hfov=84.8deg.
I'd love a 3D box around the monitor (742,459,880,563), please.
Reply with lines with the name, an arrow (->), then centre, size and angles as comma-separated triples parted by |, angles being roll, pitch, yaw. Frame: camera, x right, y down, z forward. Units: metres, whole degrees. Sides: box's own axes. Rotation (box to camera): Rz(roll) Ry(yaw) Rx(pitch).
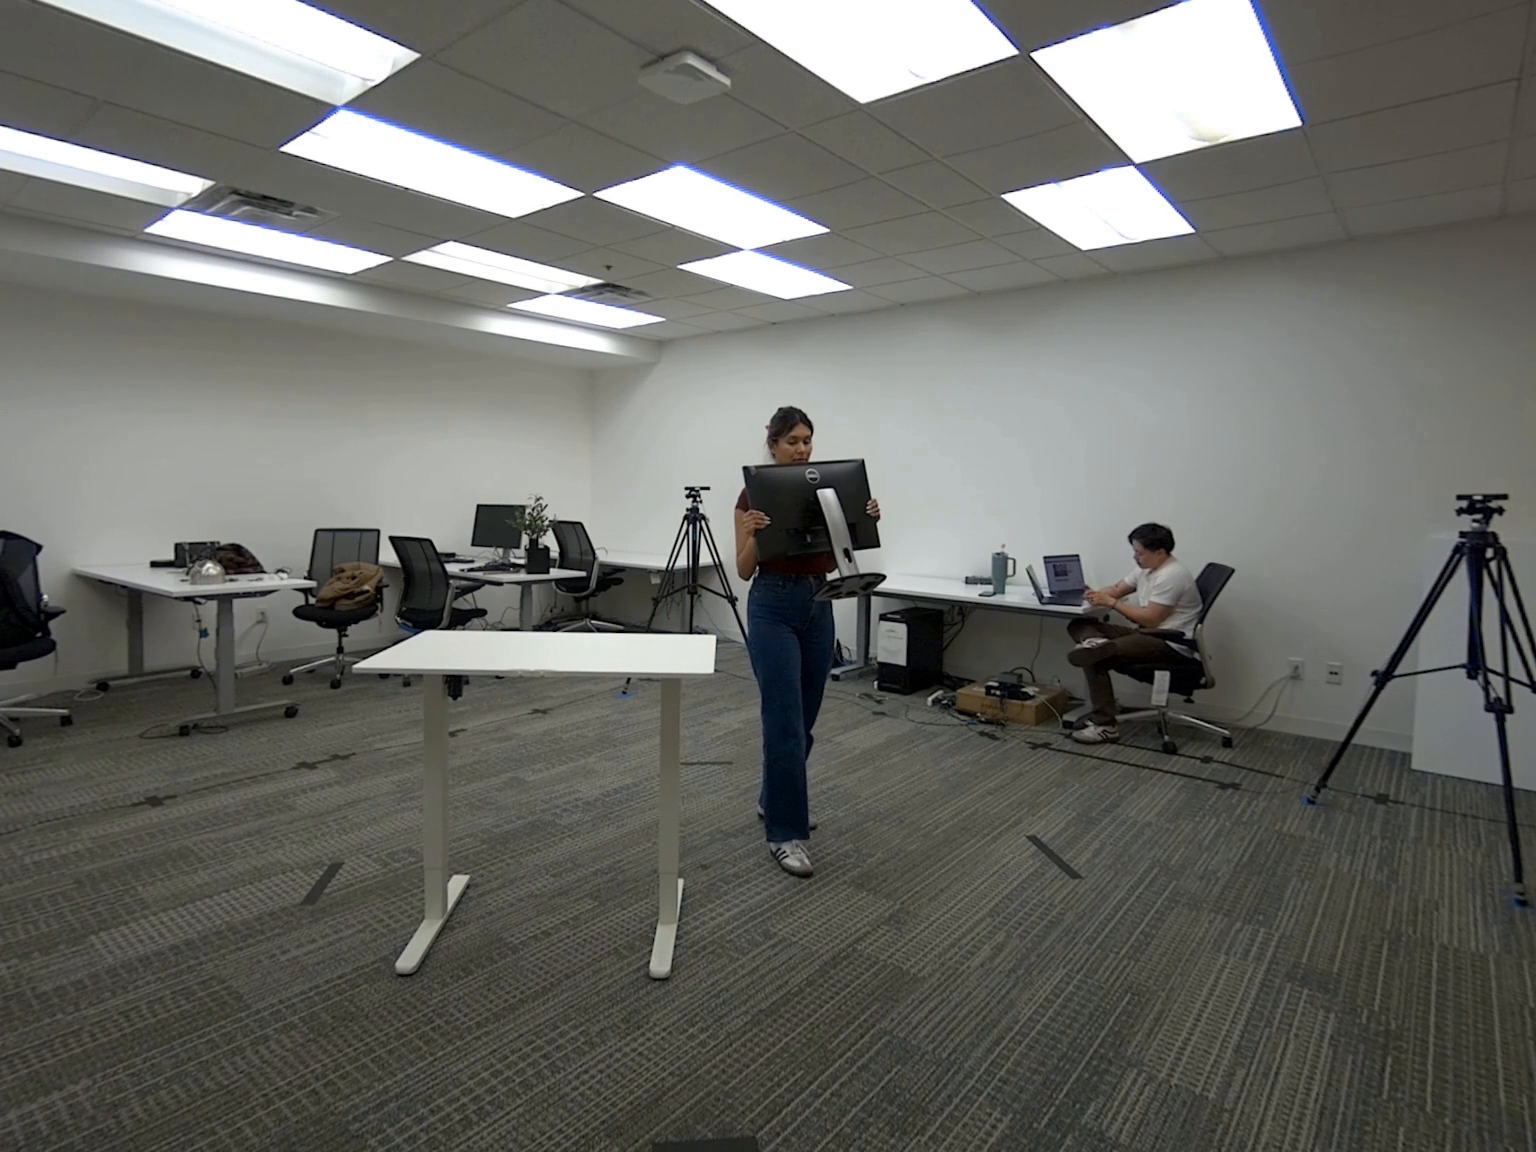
monitor -> 0.204, -0.186, 3.100 | 0.526, 0.536, 0.187 | -6, -24, -29
